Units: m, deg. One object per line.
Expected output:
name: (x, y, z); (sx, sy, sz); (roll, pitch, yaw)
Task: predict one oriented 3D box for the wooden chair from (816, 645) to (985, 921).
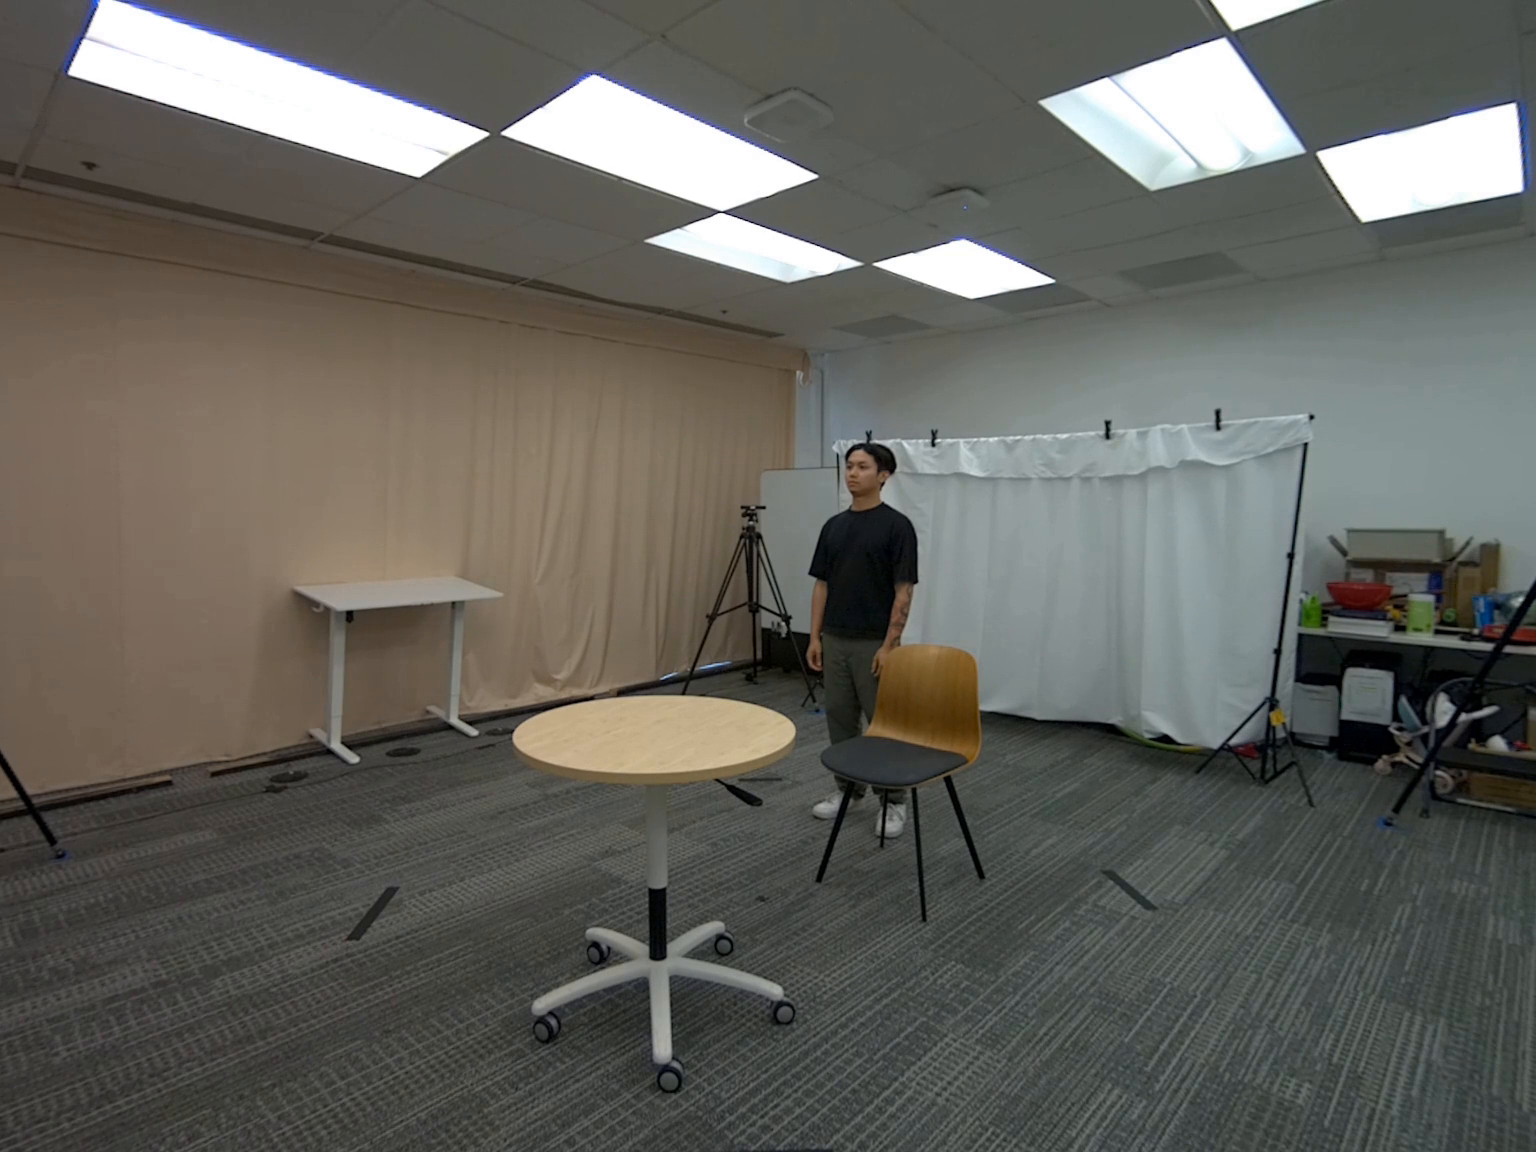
wooden chair: (0.490, 0.701, 3.092); (0.494, 0.877, 0.506); (3, 0, 41)
